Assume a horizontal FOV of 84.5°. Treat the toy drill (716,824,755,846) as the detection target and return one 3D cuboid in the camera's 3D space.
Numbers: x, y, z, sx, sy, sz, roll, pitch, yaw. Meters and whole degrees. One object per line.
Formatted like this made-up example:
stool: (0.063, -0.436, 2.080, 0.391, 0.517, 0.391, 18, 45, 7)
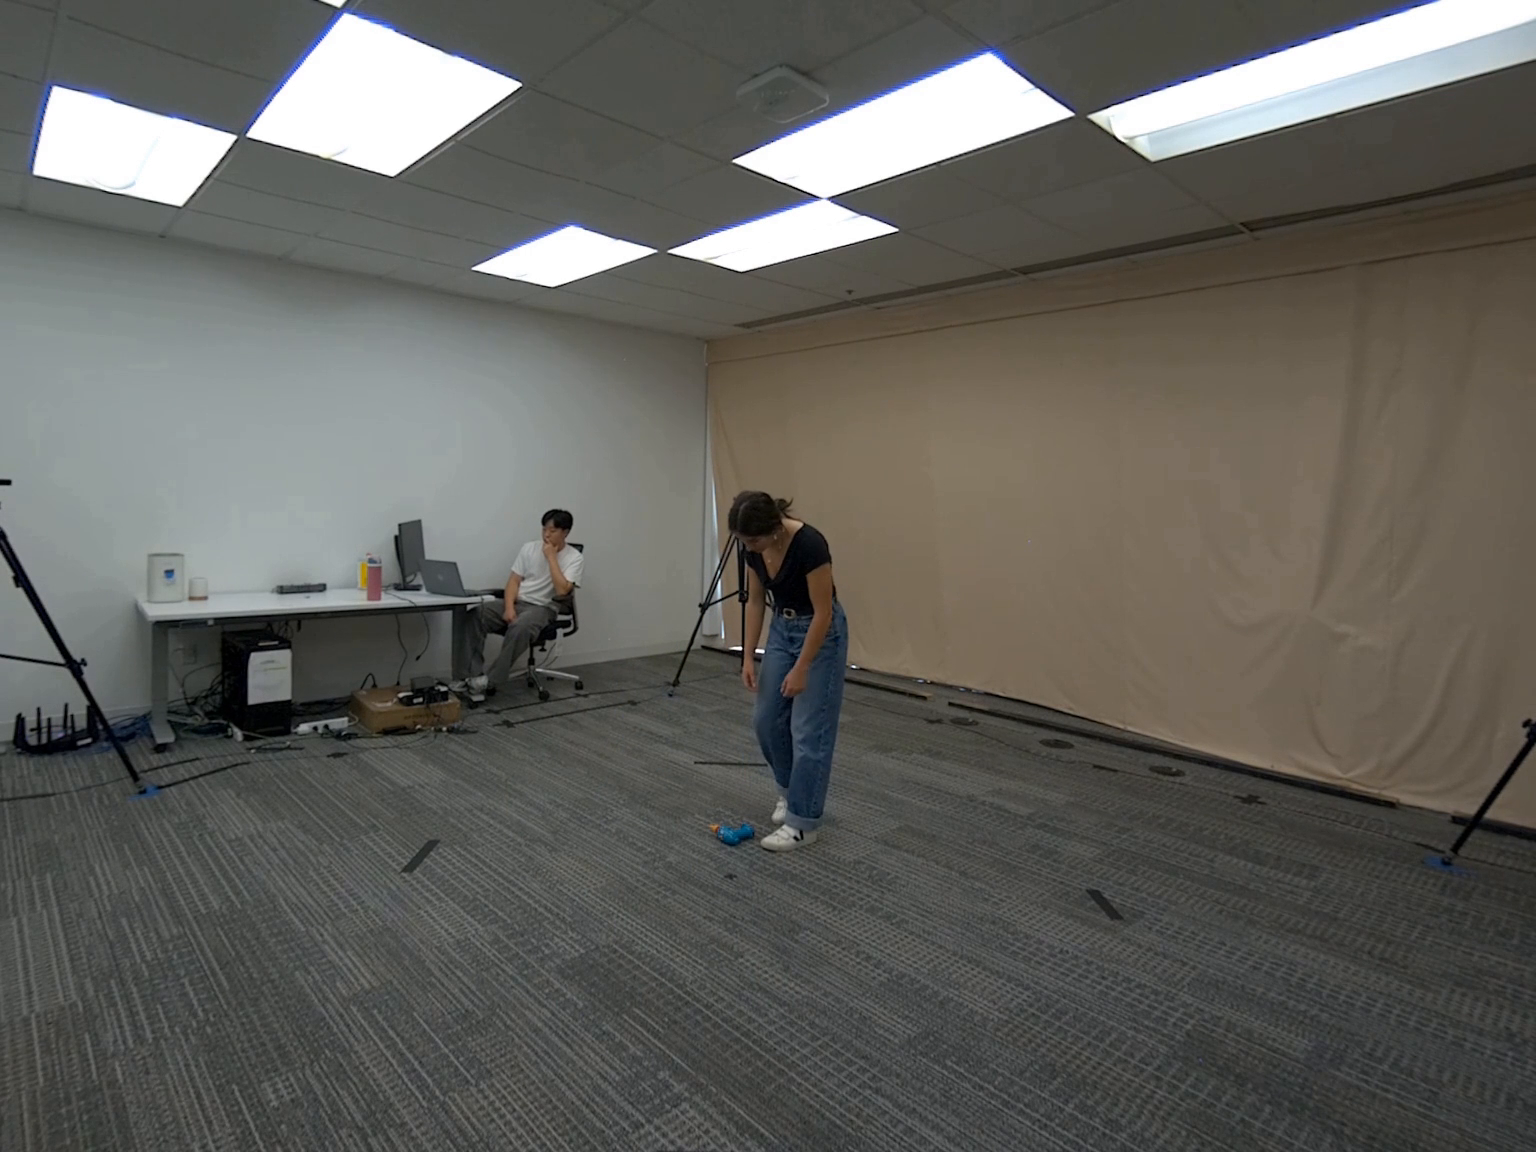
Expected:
toy drill: (-0.165, 1.052, 3.449, 0.174, 0.061, 0.143, 11, 10, 42)
